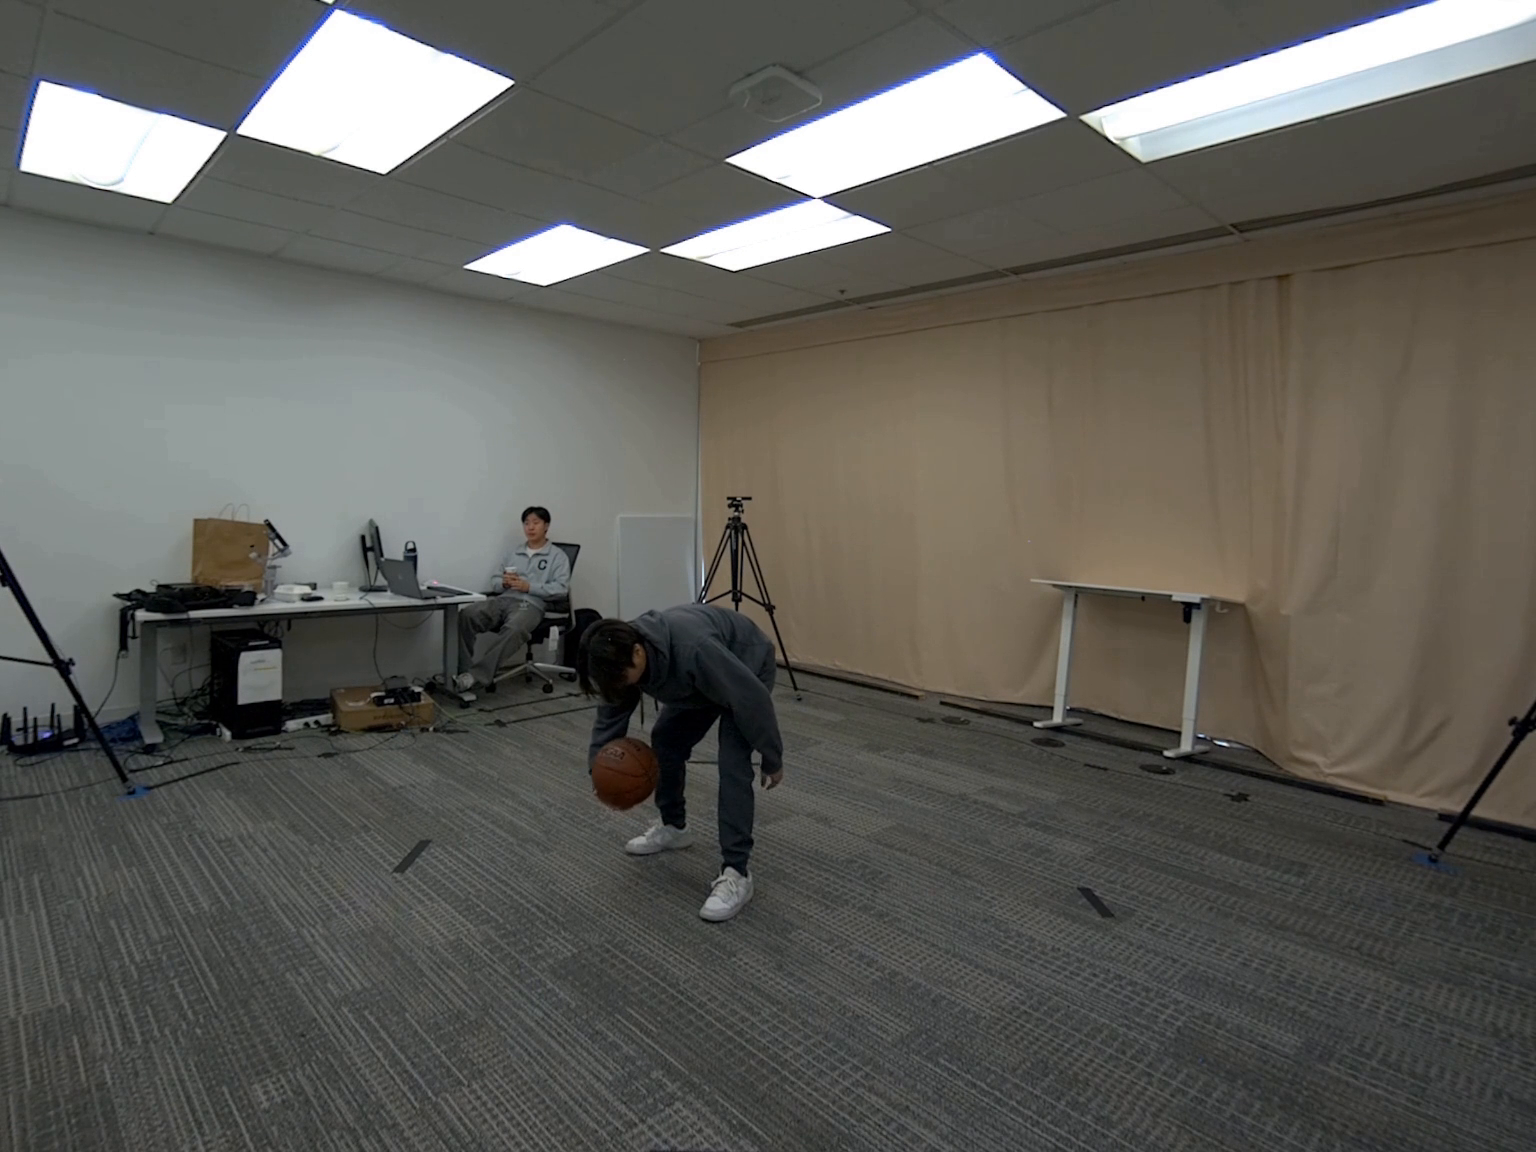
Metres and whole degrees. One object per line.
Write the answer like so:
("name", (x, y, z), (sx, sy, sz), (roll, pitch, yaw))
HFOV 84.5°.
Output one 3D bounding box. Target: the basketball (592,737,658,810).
("basketball", (-0.505, 0.694, 2.994), (0.236, 0.235, 0.237), (1, 4, -1))
